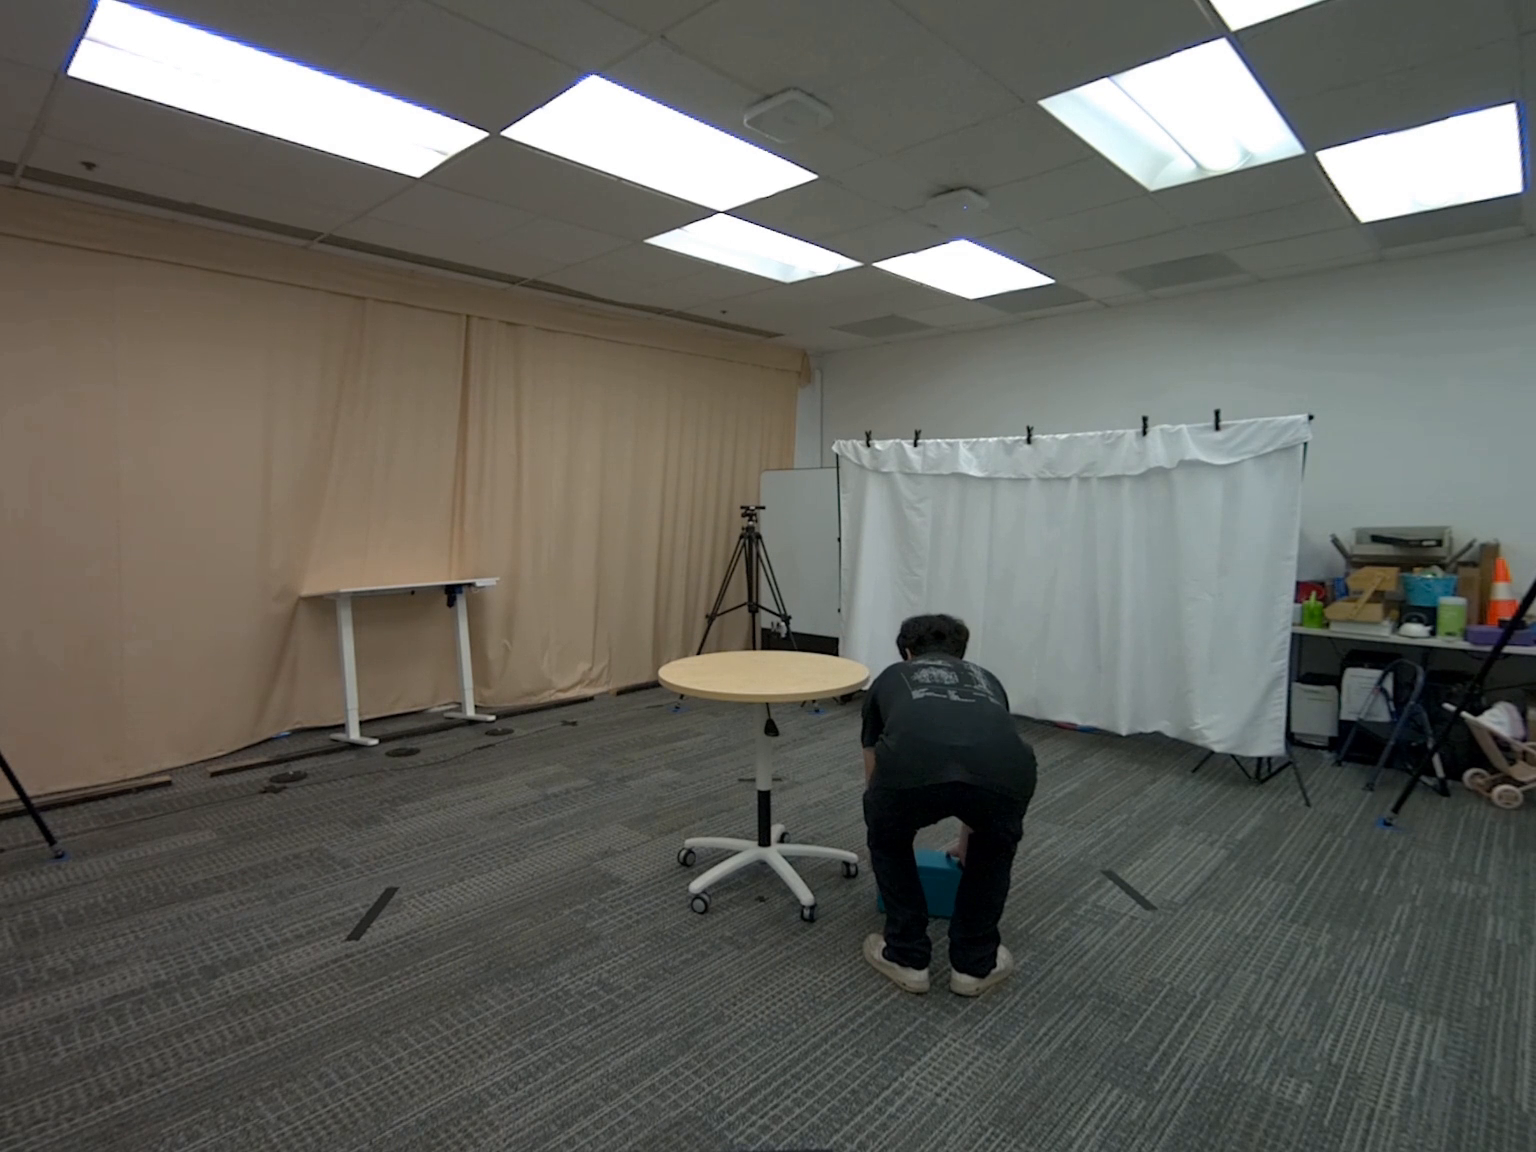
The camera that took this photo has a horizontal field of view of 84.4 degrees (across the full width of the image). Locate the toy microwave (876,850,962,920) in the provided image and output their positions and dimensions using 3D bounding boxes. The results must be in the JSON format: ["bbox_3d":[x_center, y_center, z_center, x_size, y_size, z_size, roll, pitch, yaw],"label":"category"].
[{"bbox_3d":[0.515,1.044,2.910,0.289,0.183,0.151,1,7,9],"label":"toy microwave"}]
